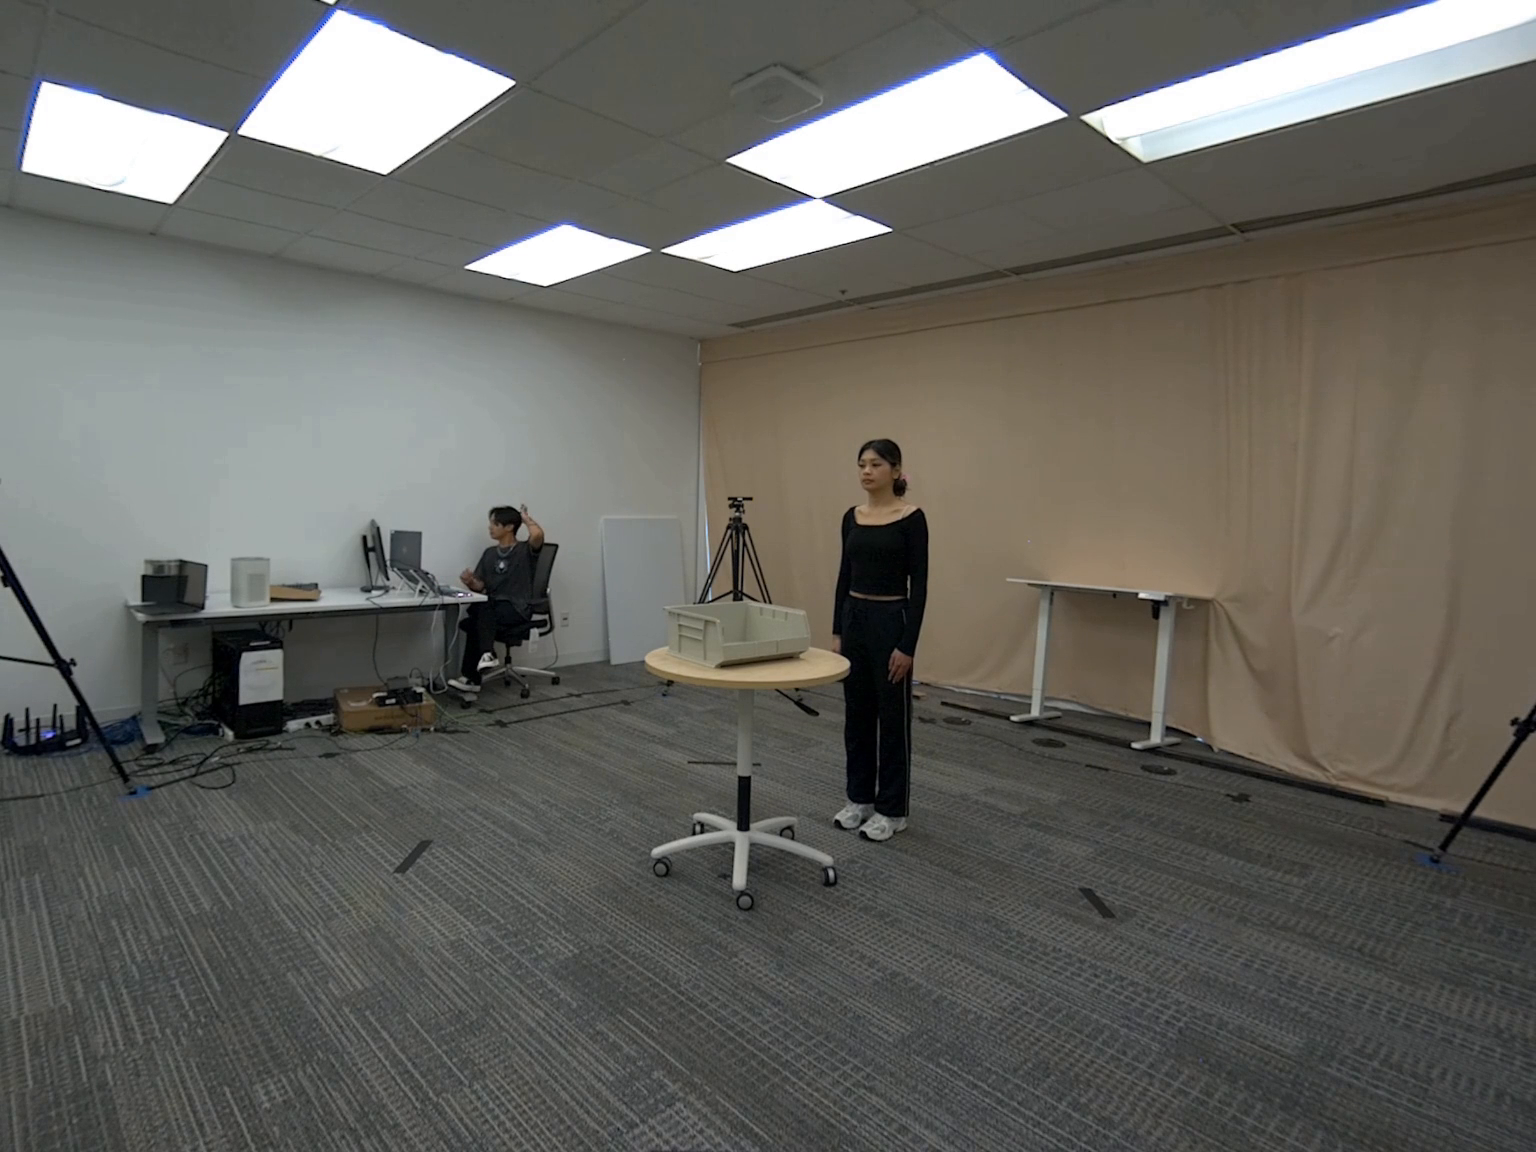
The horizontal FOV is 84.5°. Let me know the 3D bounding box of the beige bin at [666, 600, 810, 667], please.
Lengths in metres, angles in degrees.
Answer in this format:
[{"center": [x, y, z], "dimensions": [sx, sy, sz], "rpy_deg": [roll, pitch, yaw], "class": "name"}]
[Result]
[{"center": [-0.123, 0.218, 3.187], "dimensions": [0.413, 0.188, 0.387], "rpy_deg": [-3, 6, -38], "class": "beige bin"}]
